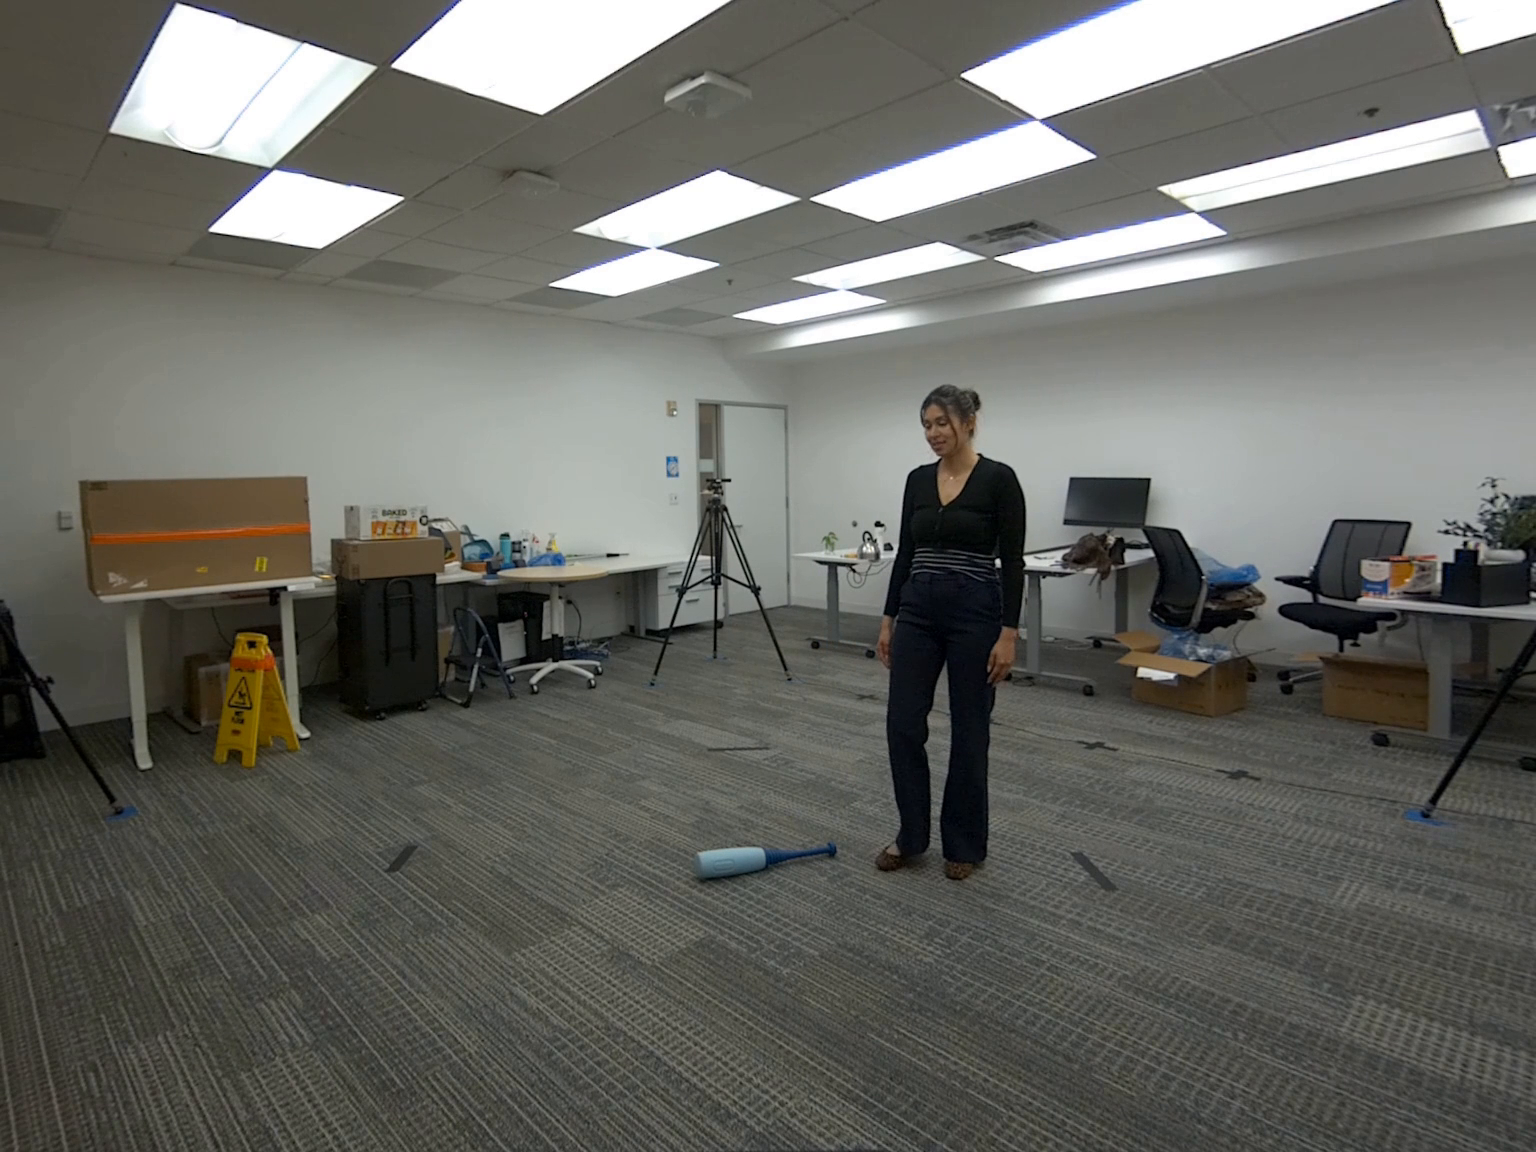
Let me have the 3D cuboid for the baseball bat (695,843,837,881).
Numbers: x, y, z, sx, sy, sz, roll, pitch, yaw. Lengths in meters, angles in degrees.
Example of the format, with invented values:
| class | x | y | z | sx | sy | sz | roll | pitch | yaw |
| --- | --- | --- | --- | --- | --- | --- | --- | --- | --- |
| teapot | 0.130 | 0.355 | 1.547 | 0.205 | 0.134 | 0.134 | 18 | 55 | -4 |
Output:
| class | x | y | z | sx | sy | sz | roll | pitch | yaw |
| --- | --- | --- | --- | --- | --- | --- | --- | --- | --- |
| baseball bat | -0.001 | 1.017 | 3.067 | 0.533 | 0.089 | 0.091 | 2 | 4 | -20 |
